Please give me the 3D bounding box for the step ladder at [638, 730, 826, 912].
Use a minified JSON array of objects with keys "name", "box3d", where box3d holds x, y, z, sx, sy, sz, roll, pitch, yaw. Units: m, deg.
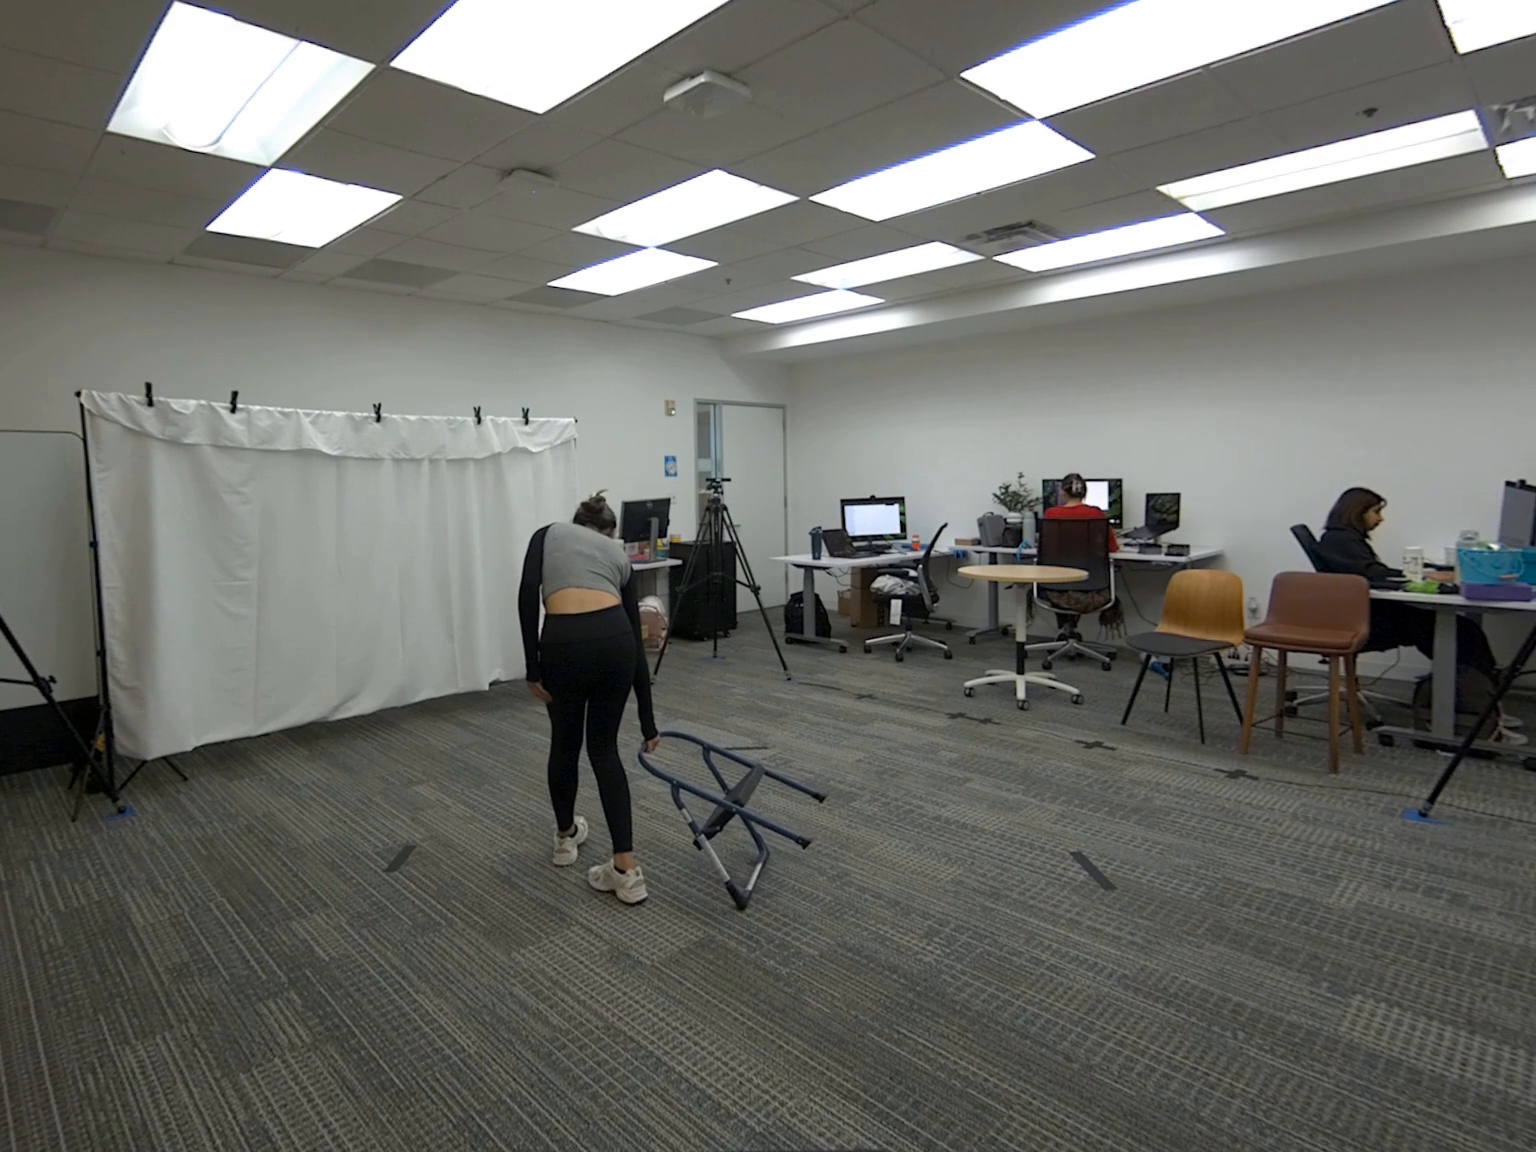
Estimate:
[{"name":"step ladder","box3d":[-0.154,0.736,2.972,0.613,0.349,0.426,42,12,7]}]
